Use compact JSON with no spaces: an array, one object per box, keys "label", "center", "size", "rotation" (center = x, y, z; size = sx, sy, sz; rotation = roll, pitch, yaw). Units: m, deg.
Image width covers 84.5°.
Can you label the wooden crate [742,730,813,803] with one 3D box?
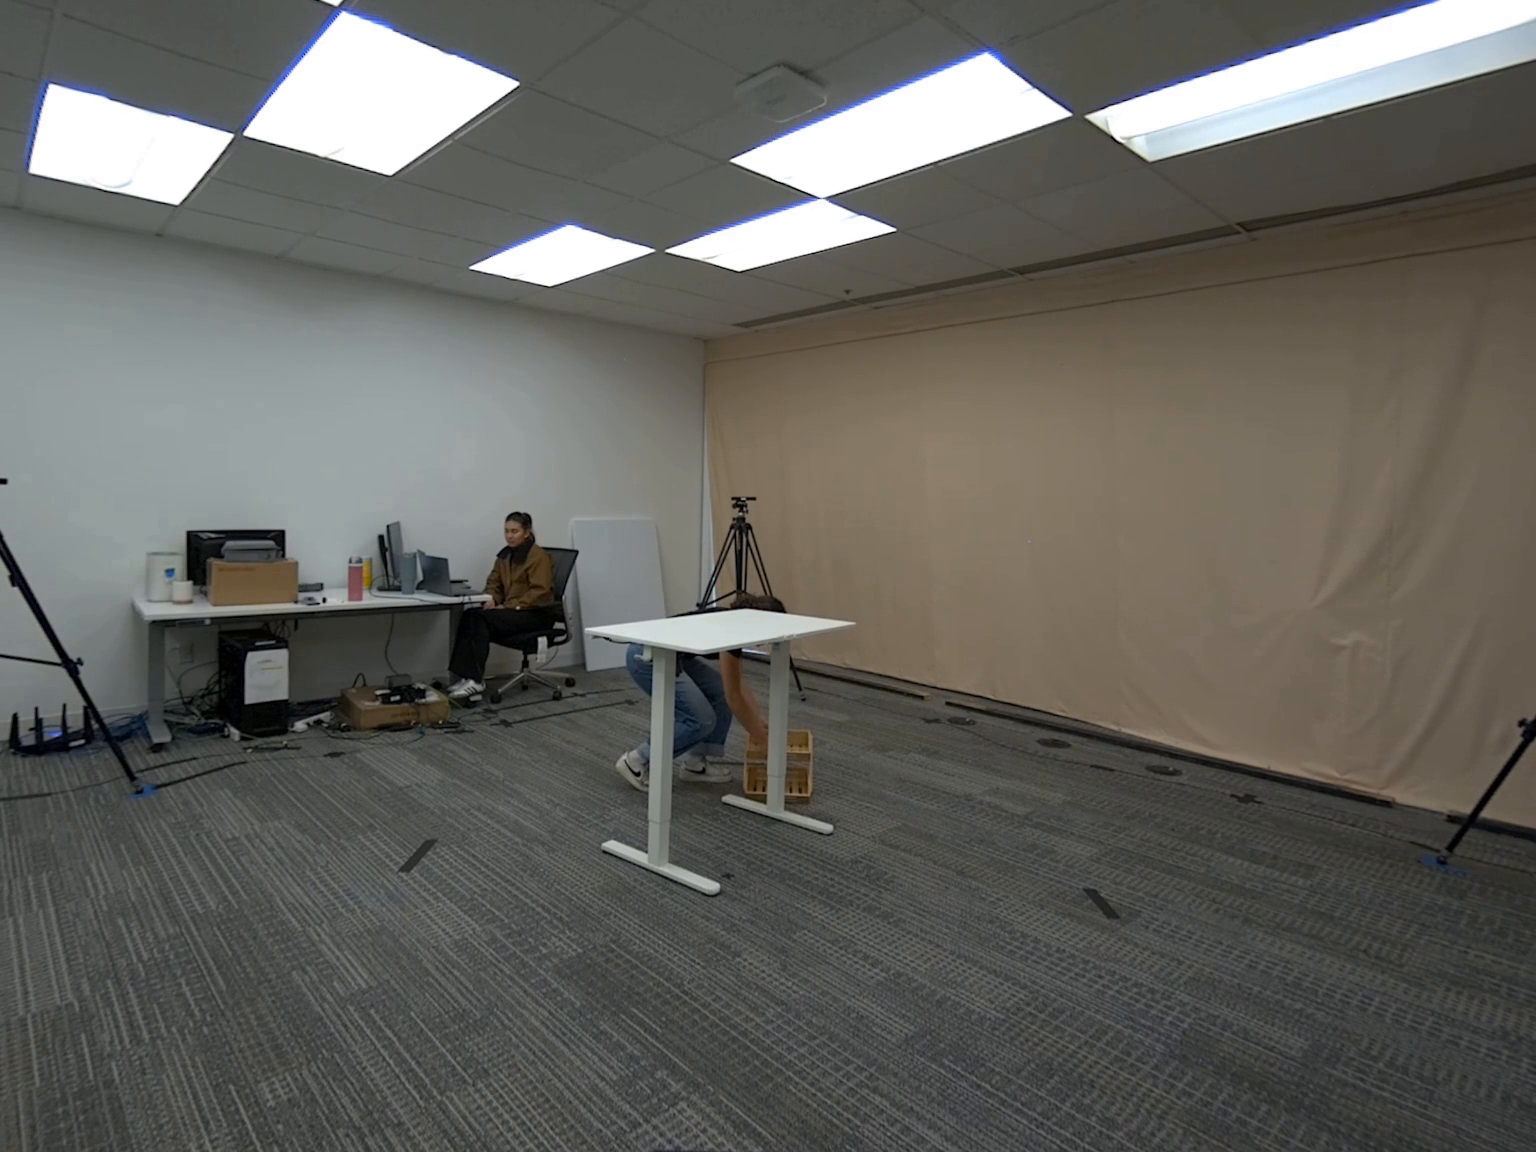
[{"label":"wooden crate","center":[0.033,0.890,3.988],"size":[0.325,0.272,0.302],"rotation":[2,4,2]}]
